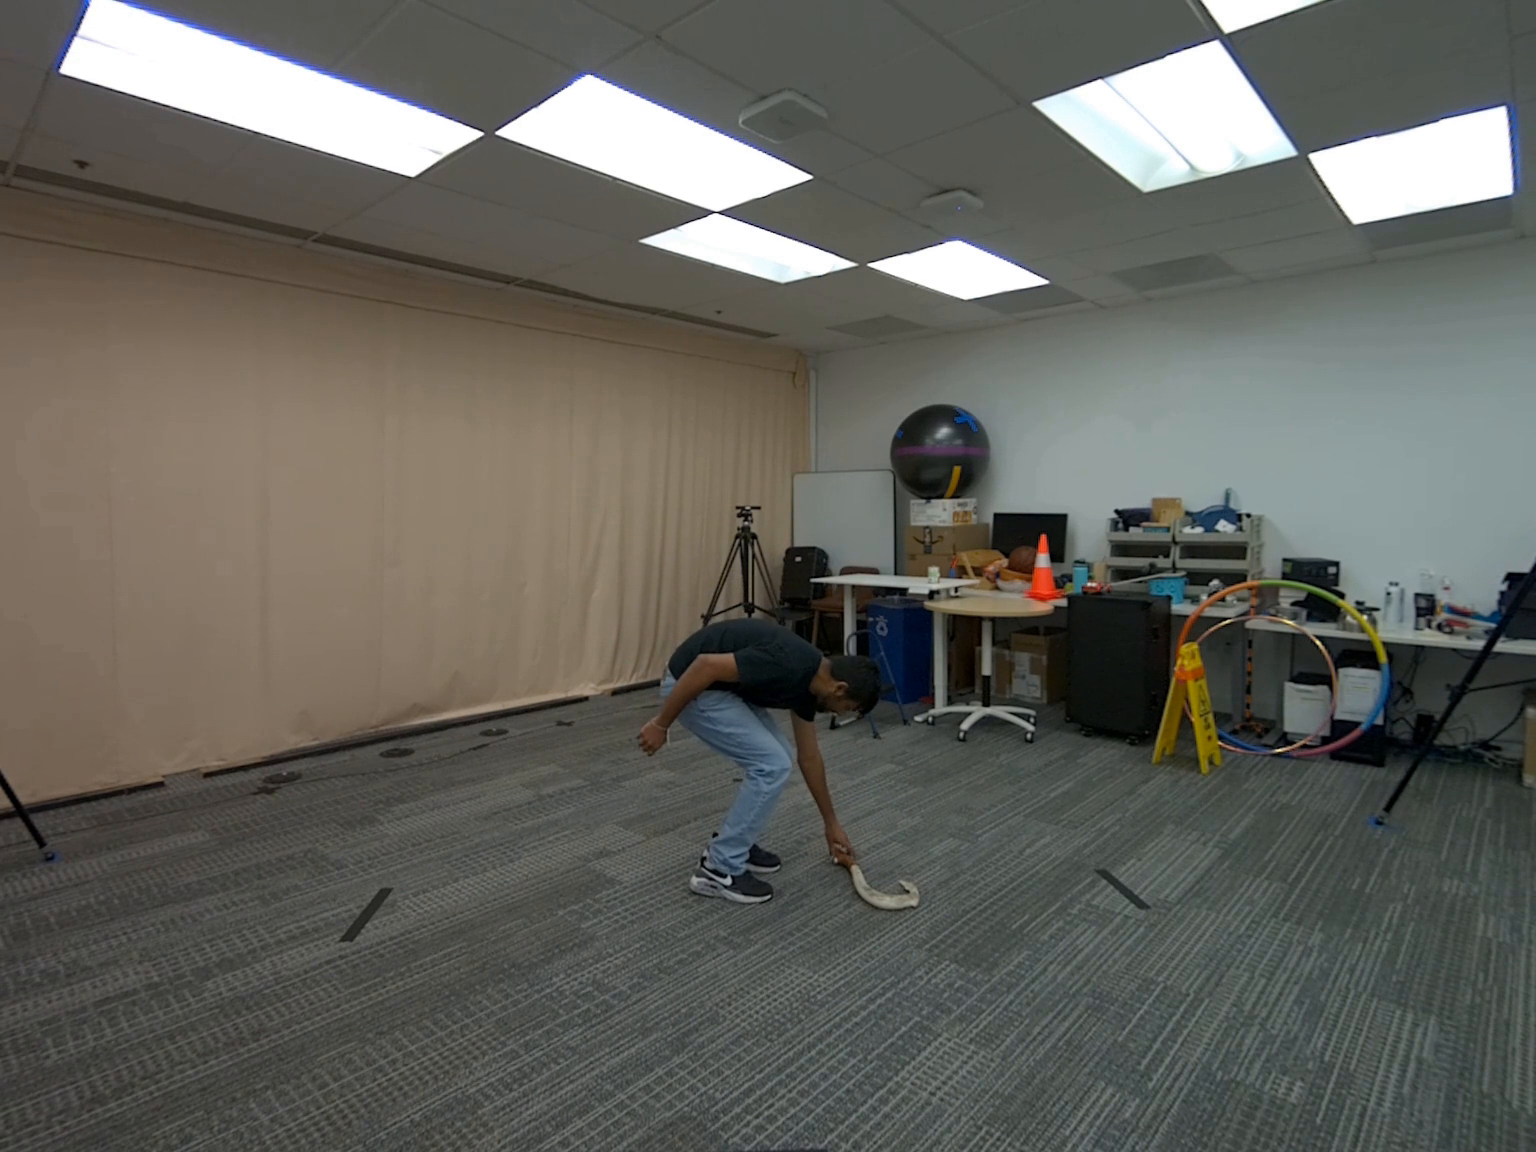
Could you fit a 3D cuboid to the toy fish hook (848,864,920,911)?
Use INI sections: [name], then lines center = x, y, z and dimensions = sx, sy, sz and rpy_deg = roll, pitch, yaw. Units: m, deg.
[toy fish hook]
center = 0.393, 1.117, 3.129
dimensions = 0.220, 0.048, 0.517
rpy_deg = 6, 3, -18
